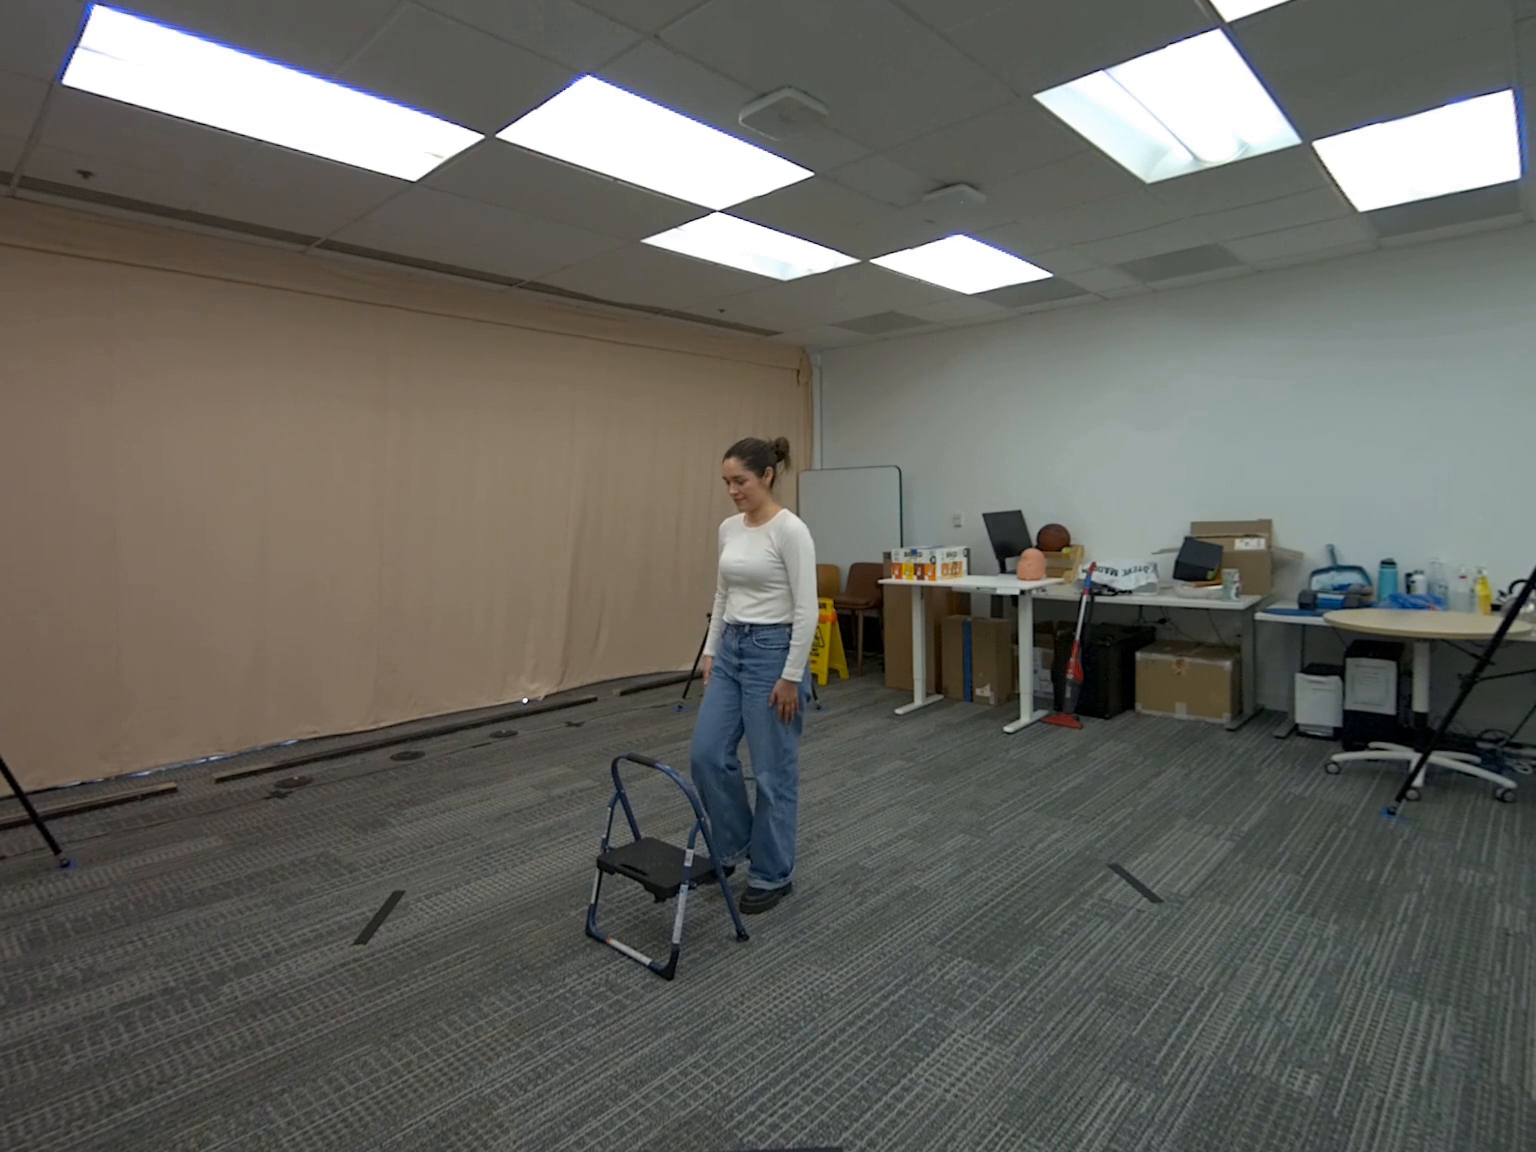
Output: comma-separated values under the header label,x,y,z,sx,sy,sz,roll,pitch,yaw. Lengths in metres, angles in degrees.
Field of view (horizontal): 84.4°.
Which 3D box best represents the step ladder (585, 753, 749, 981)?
label,x,y,z,sx,sy,sz,roll,pitch,yaw
step ladder,-0.335,0.865,2.719,0.445,0.605,0.338,2,3,42
